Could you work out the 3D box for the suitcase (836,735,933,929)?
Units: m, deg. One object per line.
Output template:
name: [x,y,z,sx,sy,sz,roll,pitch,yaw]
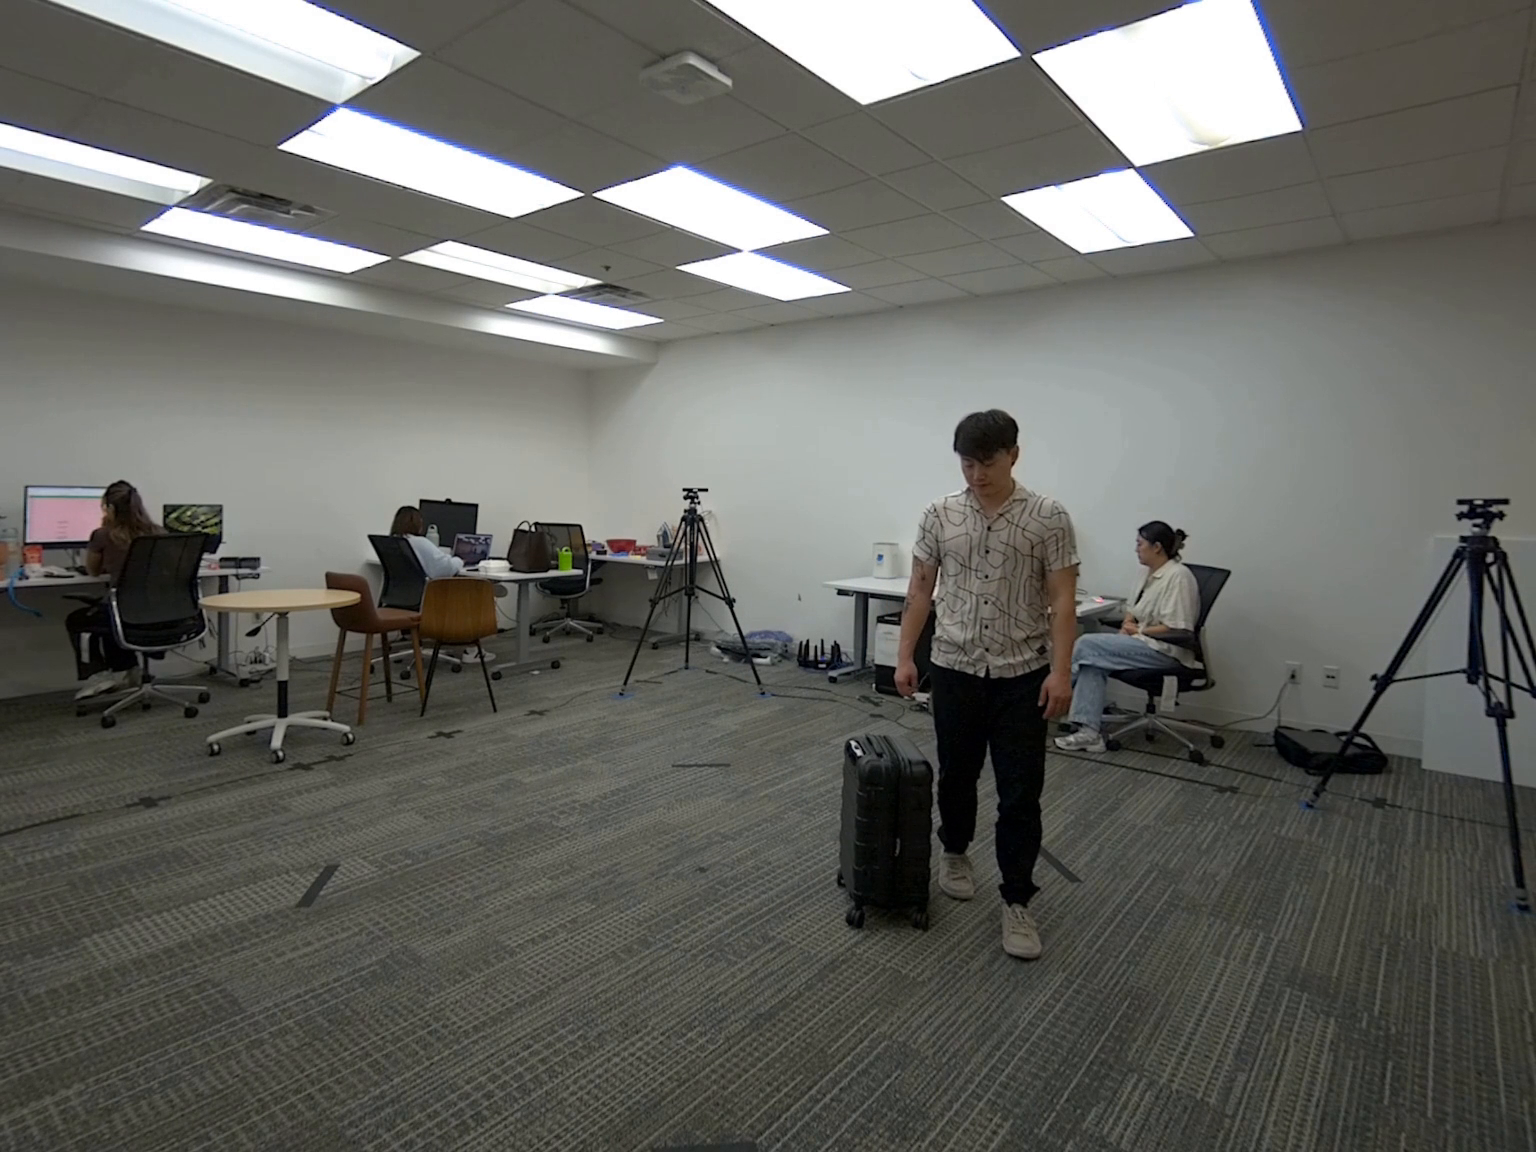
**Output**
suitcase: [0.388,0.830,2.882,0.248,0.548,0.377,2,3,-3]
